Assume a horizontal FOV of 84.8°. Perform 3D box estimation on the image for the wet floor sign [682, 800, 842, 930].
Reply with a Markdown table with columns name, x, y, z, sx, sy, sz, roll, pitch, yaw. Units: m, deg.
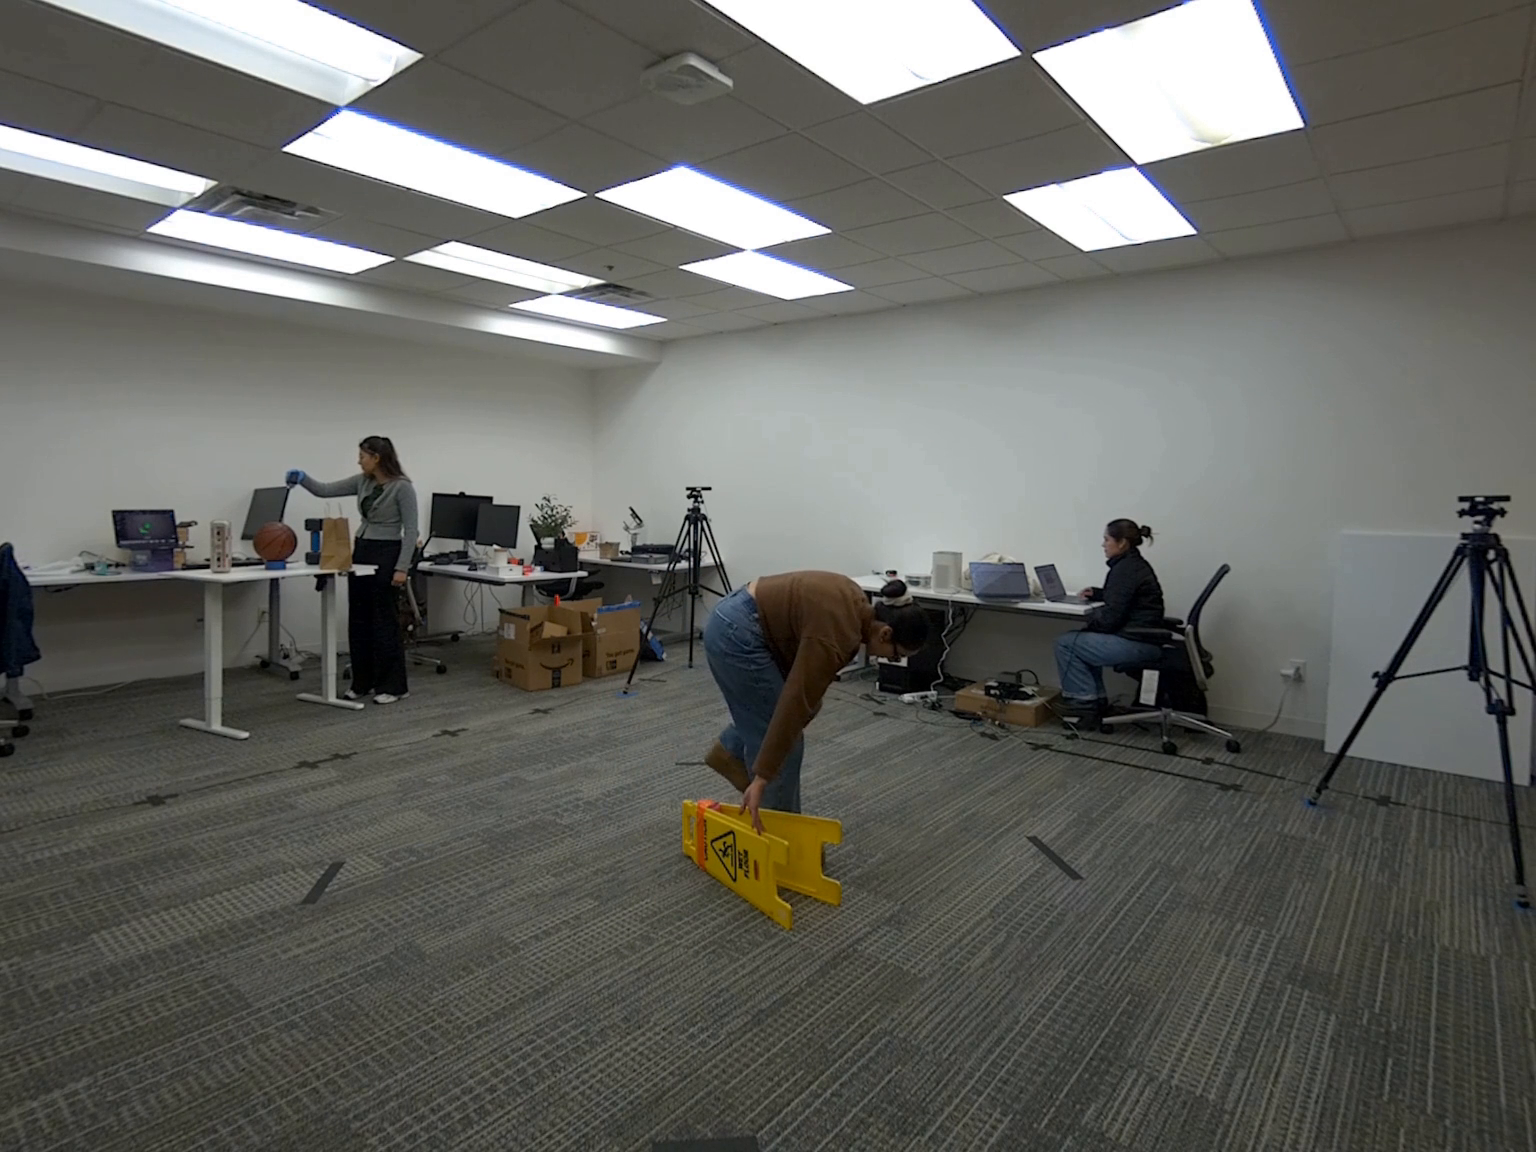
| name | x | y | z | sx | sy | sz | roll | pitch | yaw |
| --- | --- | --- | --- | --- | --- | --- | --- | --- | --- |
| wet floor sign | -0.093 | 0.953 | 2.986 | 0.667 | 0.282 | 0.281 | 3 | 4 | 44 |
